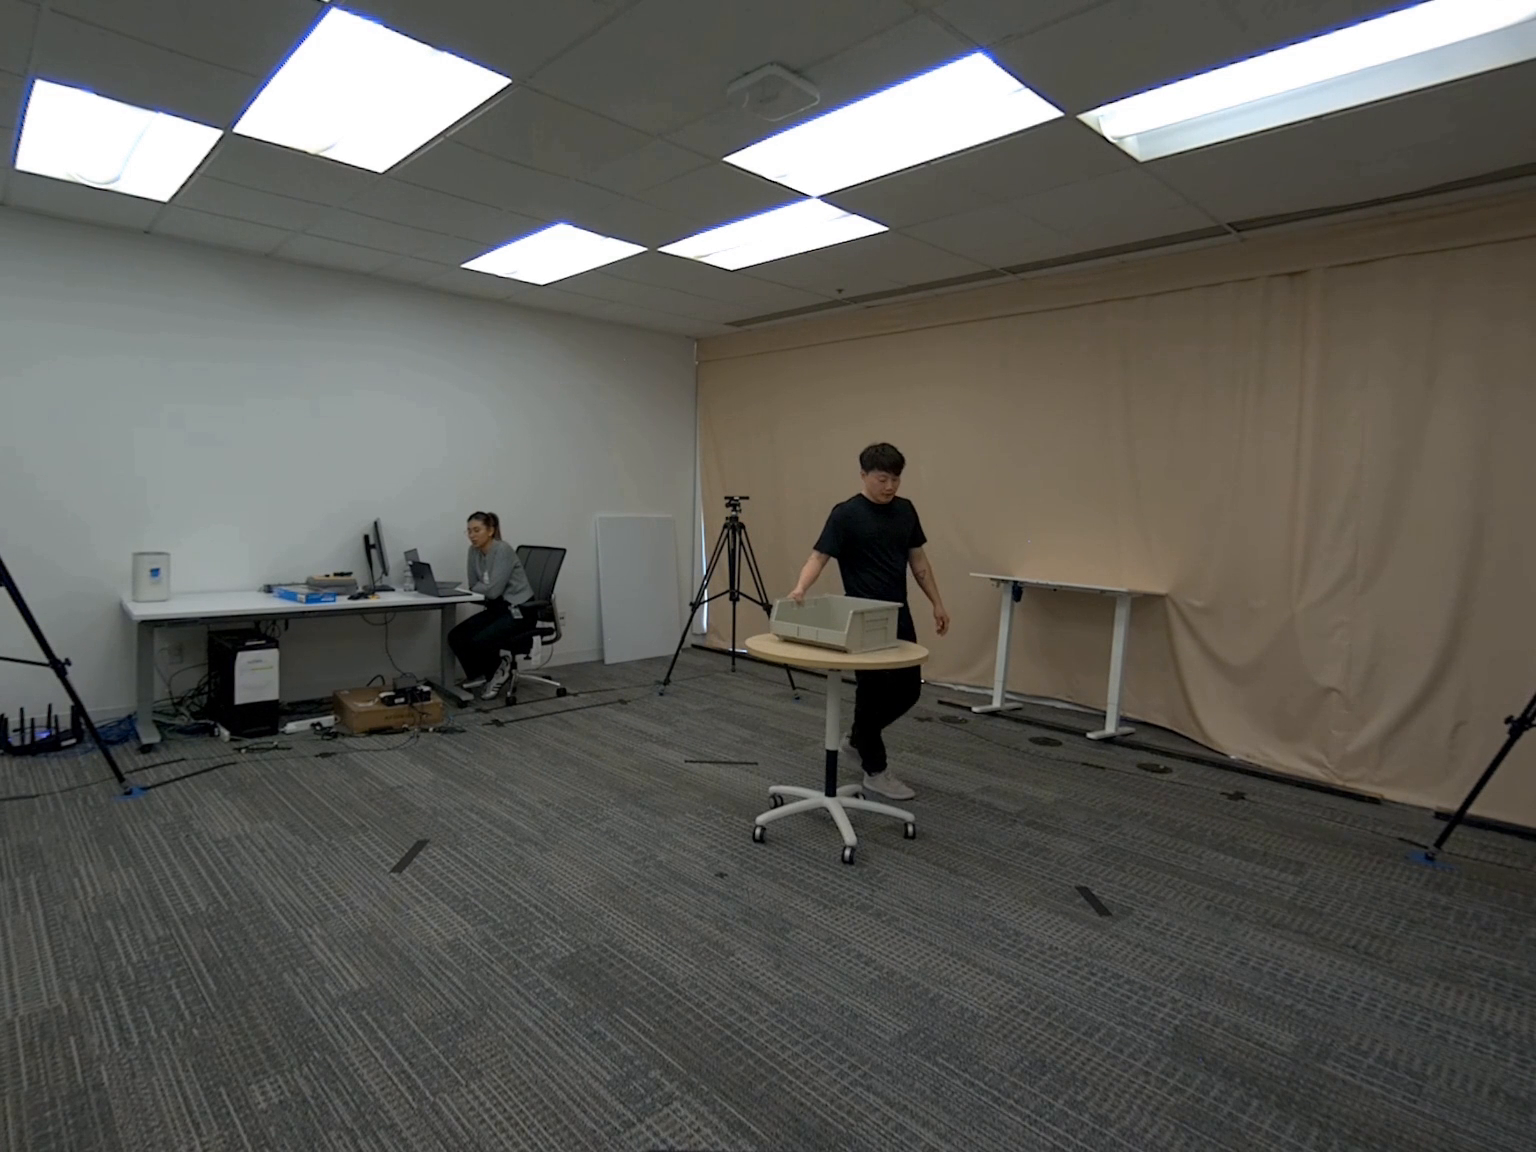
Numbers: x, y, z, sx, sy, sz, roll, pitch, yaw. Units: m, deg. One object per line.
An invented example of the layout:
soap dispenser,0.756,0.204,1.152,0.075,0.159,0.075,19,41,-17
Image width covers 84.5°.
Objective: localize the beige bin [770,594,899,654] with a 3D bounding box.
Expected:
beige bin,0.280,0.197,3.580,0.433,0.188,0.368,6,6,44
